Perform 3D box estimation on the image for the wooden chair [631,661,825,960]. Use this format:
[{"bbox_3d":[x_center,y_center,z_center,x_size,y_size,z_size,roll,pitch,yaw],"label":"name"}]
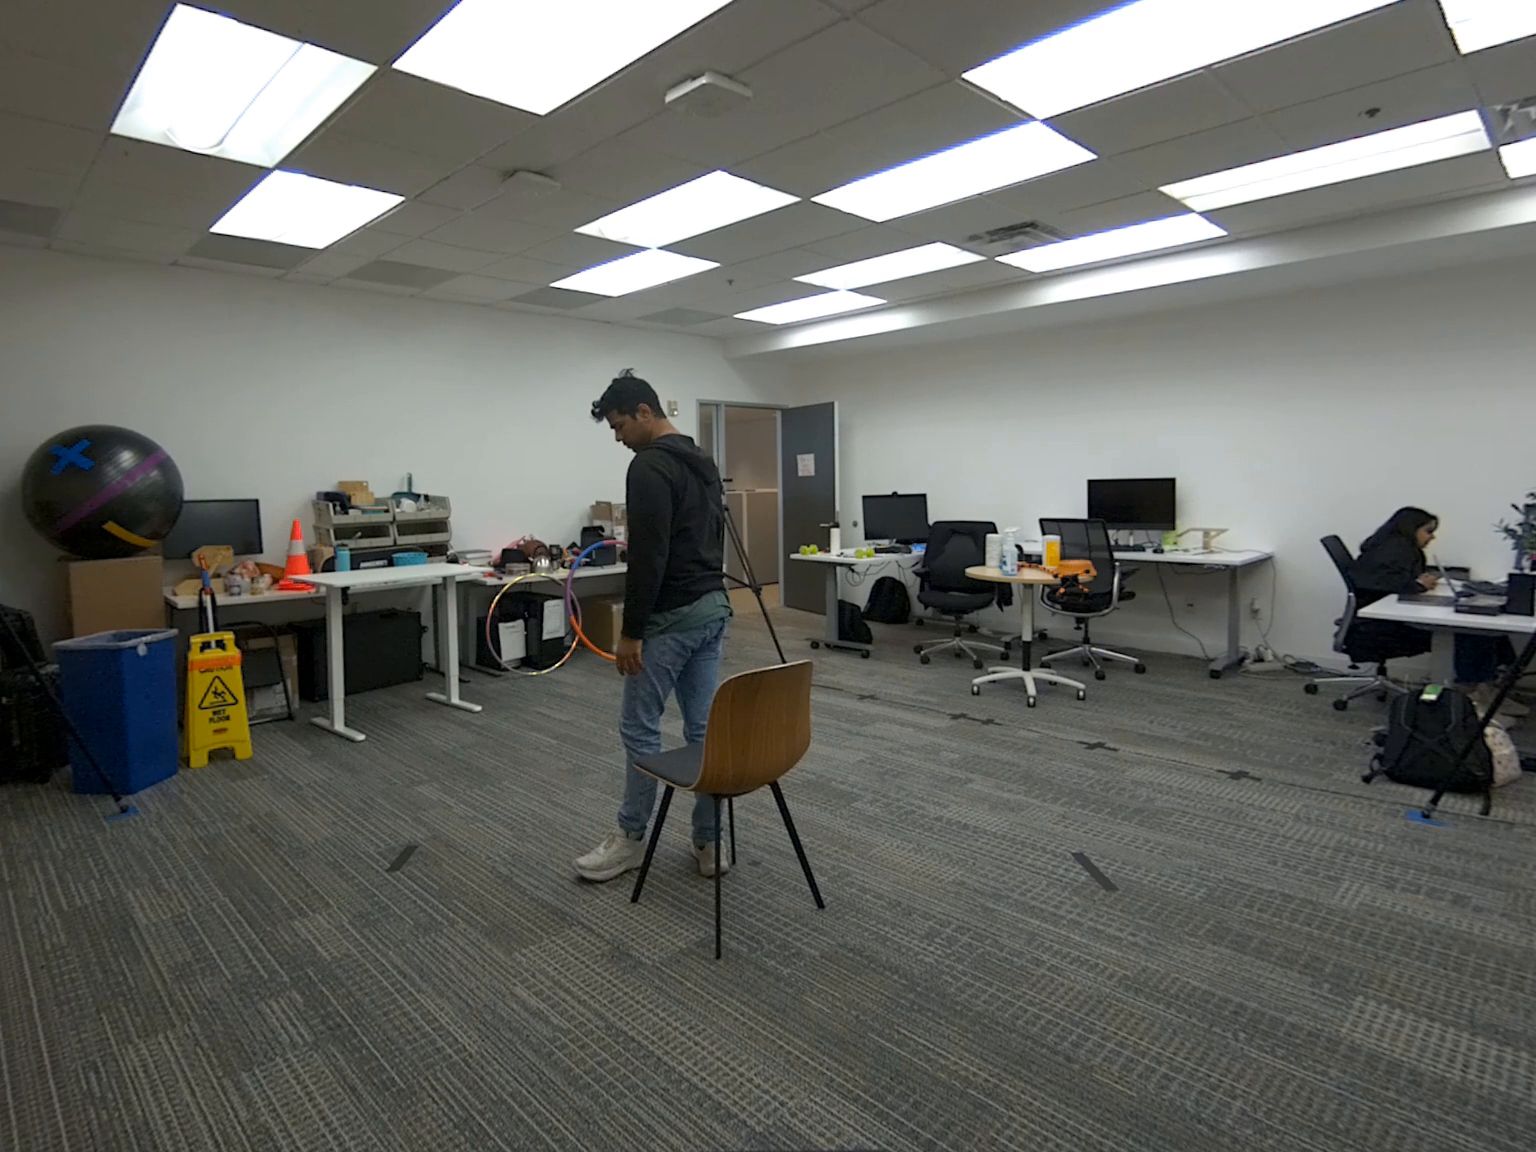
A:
[{"bbox_3d":[-0.139,0.659,2.772,0.465,0.871,0.541,-5,11,-41],"label":"wooden chair"}]
